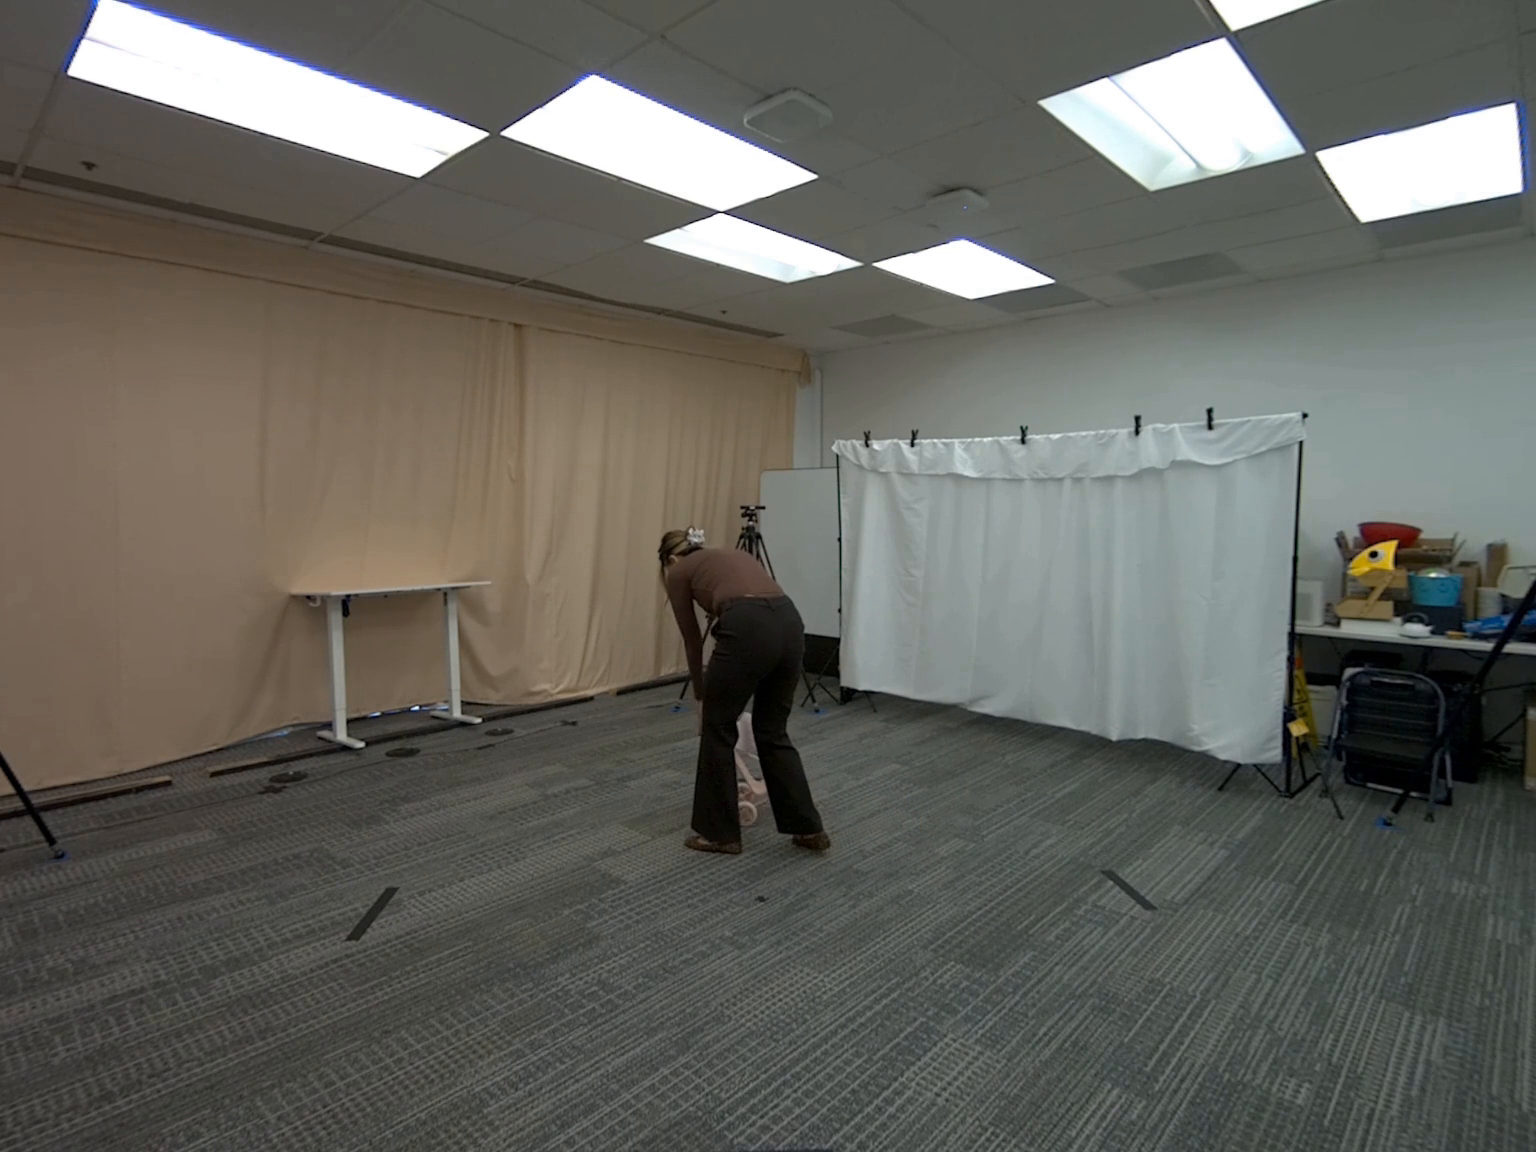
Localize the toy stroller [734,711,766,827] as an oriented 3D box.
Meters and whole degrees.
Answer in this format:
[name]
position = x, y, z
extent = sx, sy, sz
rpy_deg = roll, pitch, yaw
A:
[toy stroller]
position = -0.049, 0.850, 3.762
extent = 0.342, 0.534, 0.281
rpy_deg = -19, 2, 4
